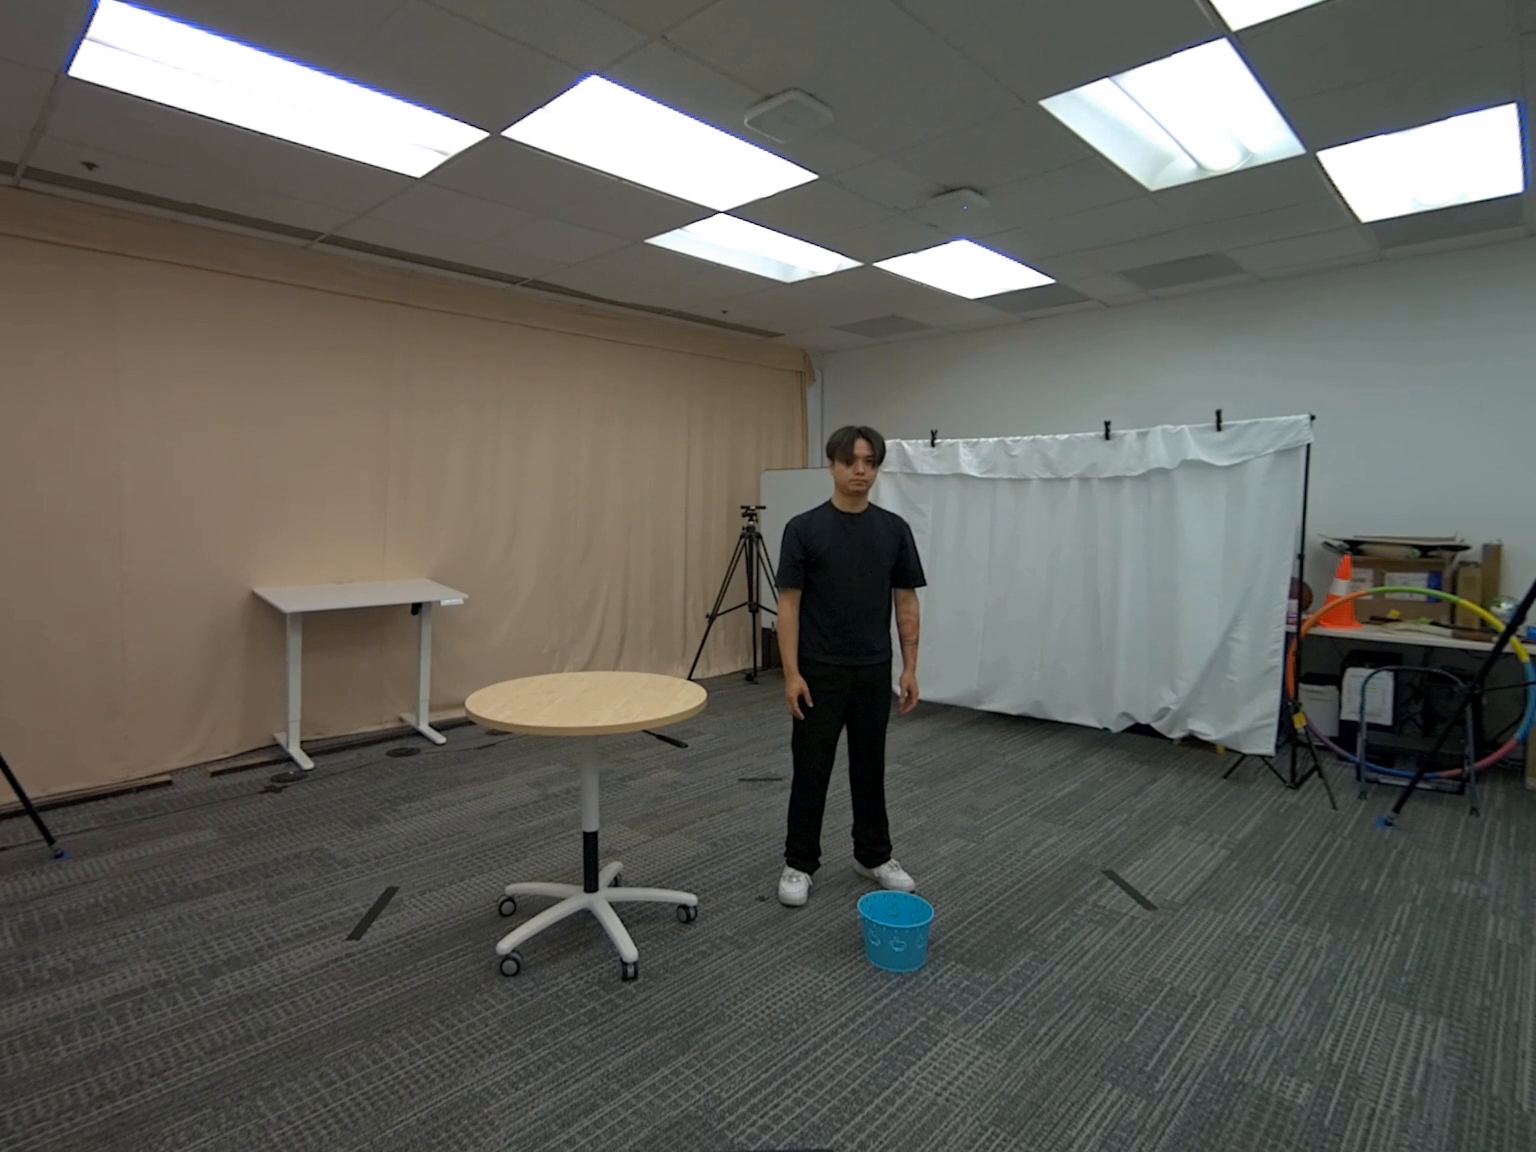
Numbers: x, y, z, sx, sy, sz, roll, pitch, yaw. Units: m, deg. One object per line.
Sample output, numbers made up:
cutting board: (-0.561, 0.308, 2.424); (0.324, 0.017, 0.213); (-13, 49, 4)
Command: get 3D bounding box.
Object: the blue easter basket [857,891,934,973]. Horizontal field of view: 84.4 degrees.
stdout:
blue easter basket: (0.398, 1.095, 2.595); (0.243, 0.155, 0.244); (0, 4, -2)
